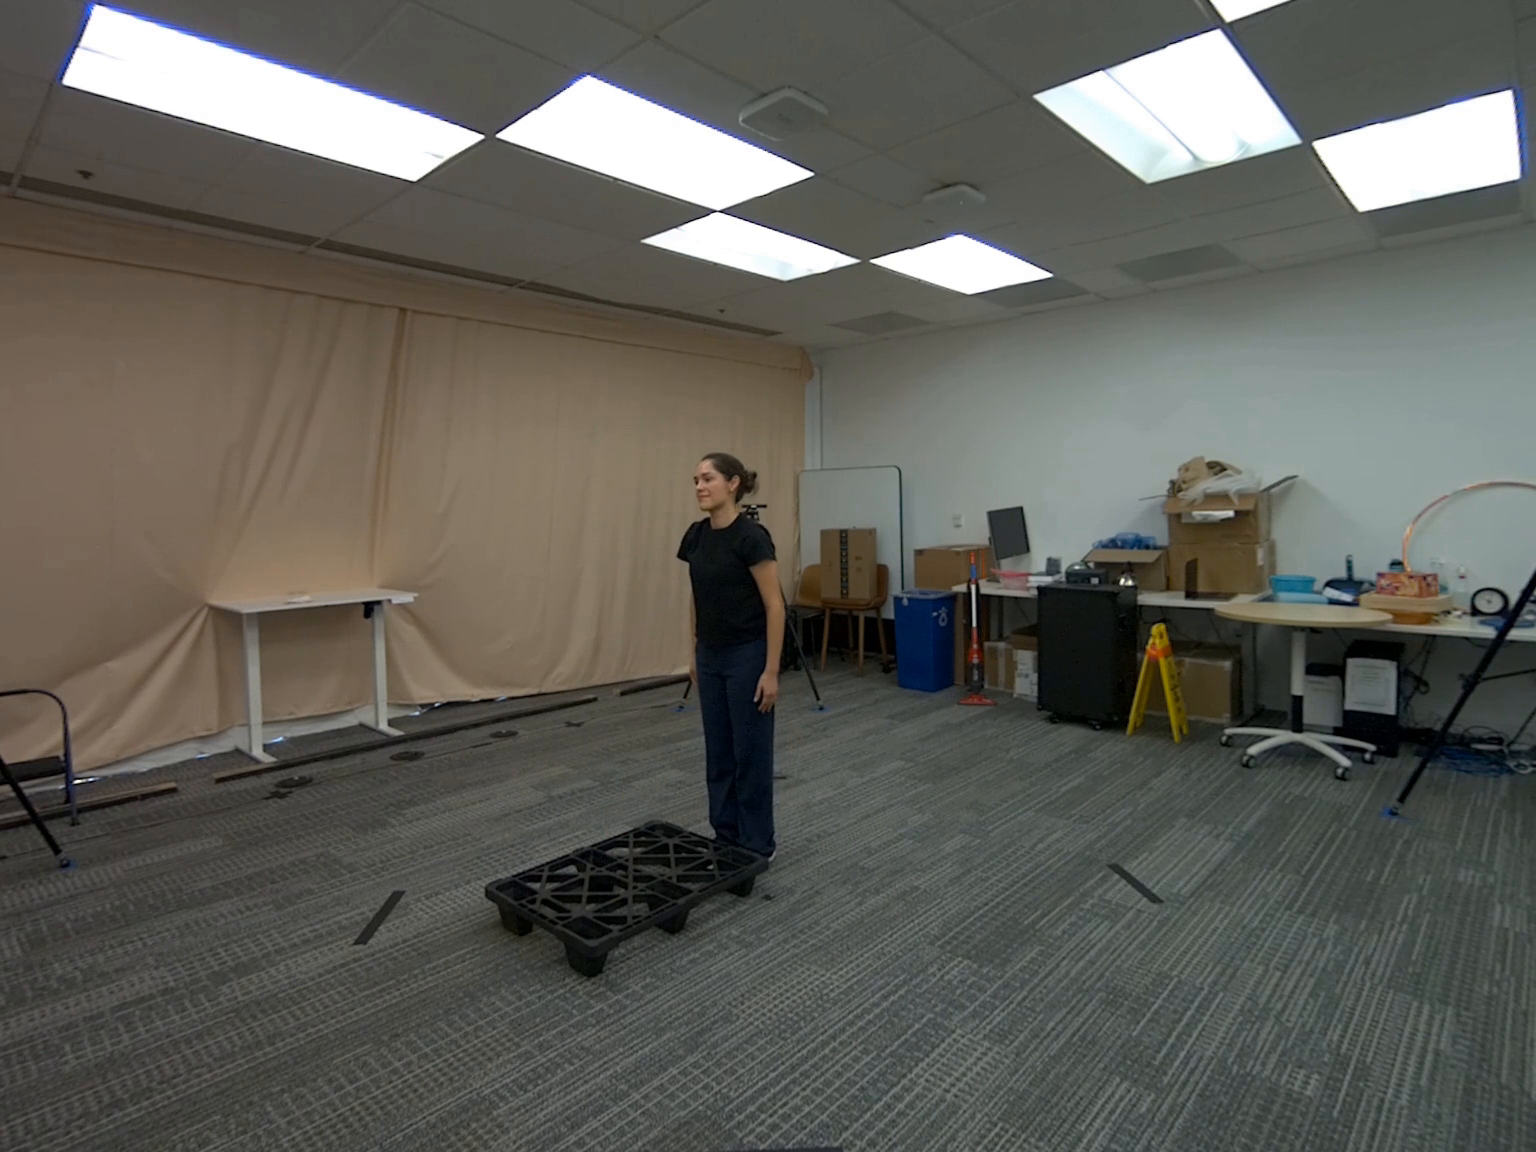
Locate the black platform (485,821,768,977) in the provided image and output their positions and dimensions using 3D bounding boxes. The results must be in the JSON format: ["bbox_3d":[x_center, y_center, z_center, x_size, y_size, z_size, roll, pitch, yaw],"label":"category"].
[{"bbox_3d":[-0.455,1.092,2.912,0.625,0.143,0.781,4,7,41],"label":"black platform"}]
